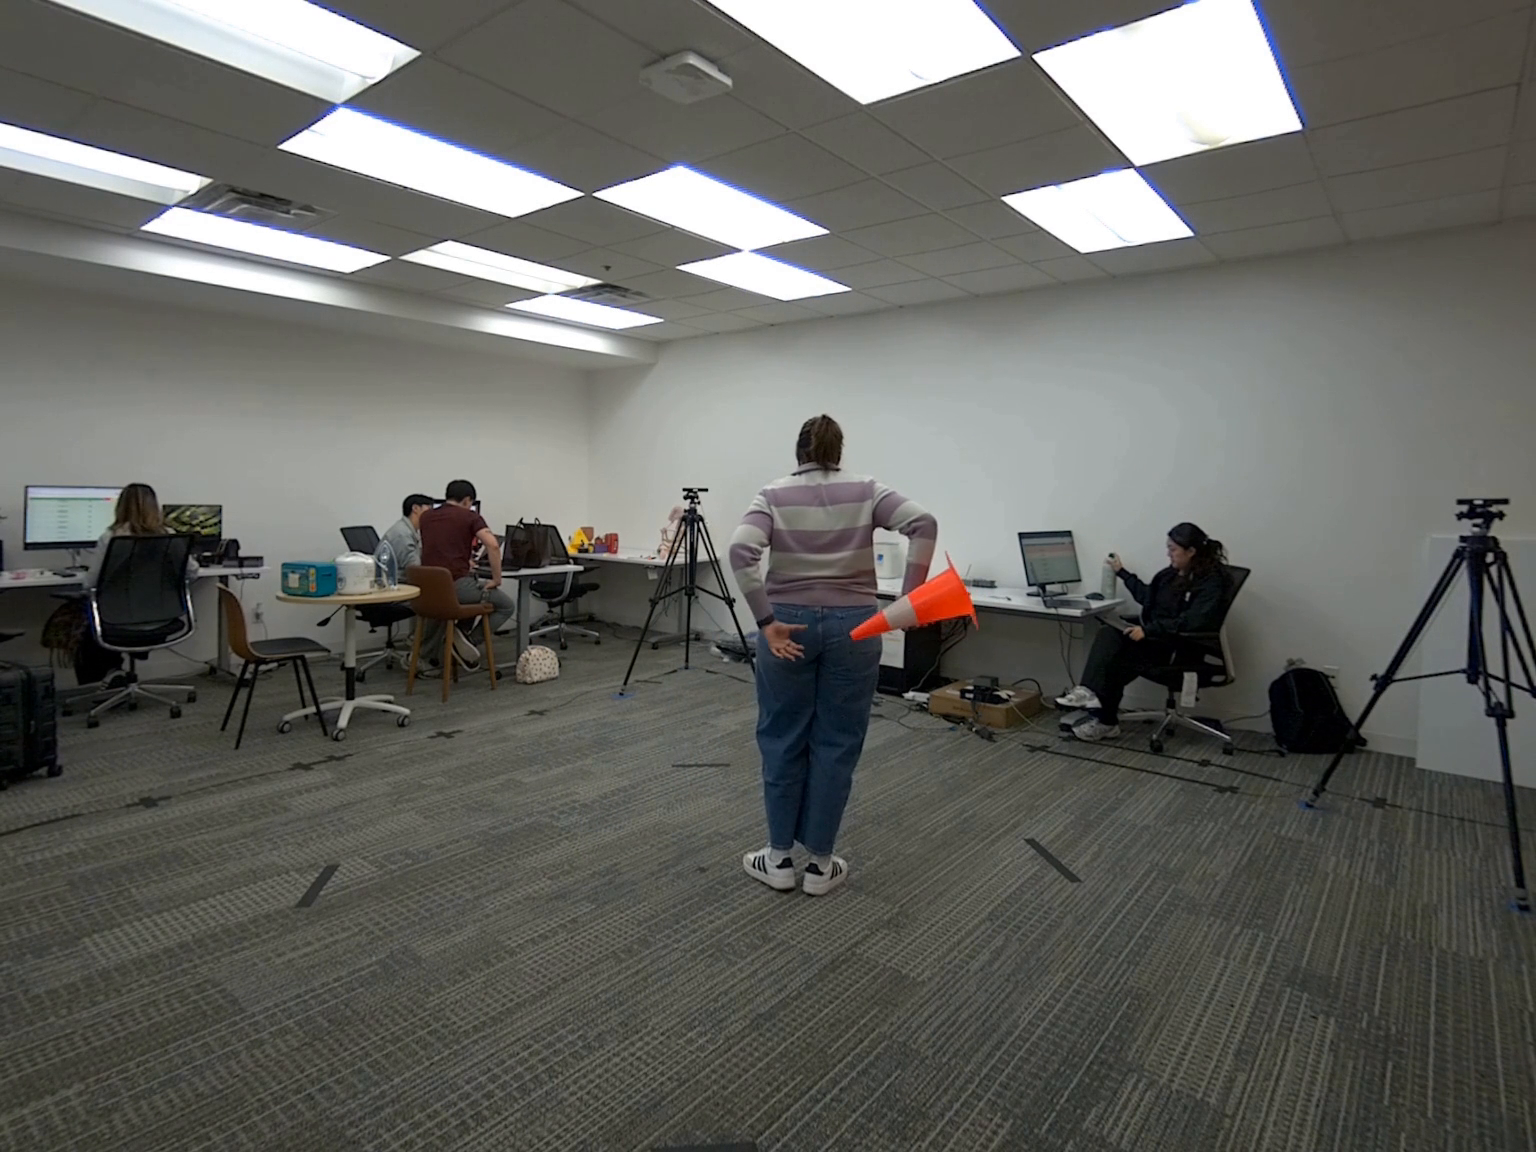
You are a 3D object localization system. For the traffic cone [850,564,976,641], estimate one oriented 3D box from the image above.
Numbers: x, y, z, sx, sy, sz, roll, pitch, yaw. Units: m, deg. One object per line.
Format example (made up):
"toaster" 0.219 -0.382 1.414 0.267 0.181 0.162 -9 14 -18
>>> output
"traffic cone" 0.425 0.123 2.718 0.385 0.197 0.211 -23 44 8
